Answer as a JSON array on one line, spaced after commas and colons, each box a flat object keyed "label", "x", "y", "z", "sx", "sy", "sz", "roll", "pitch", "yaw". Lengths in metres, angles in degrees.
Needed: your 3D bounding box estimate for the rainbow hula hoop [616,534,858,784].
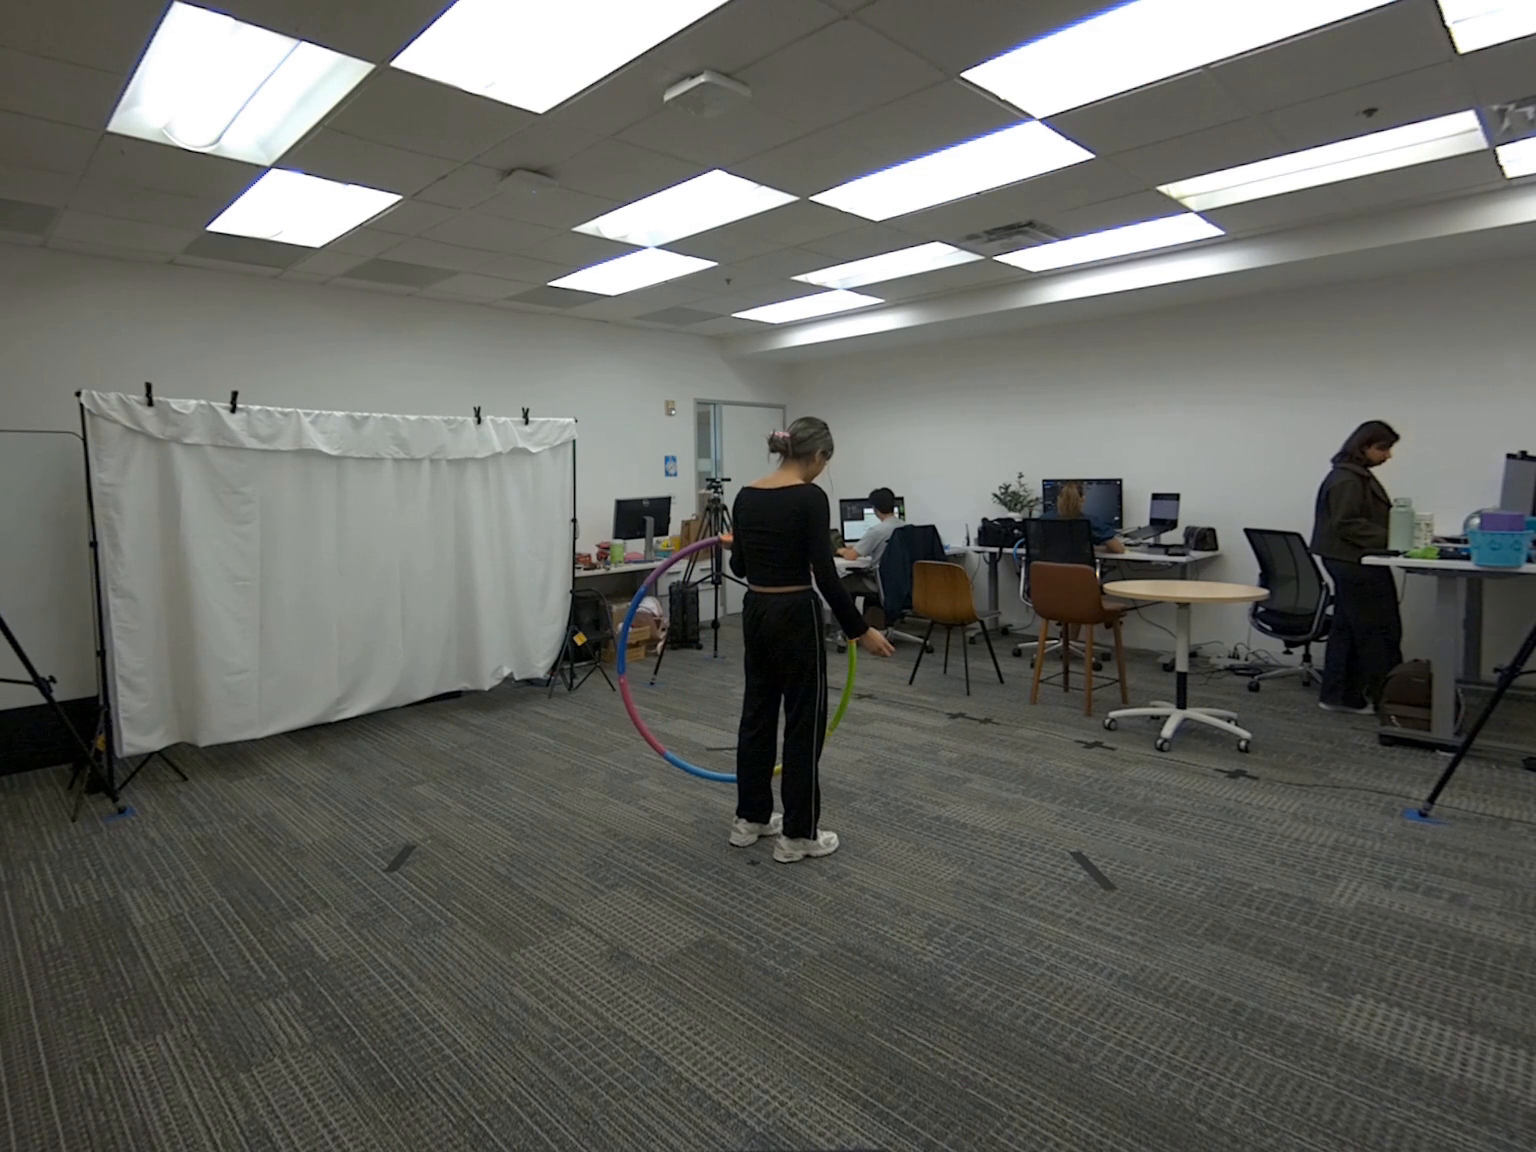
[{"label": "rainbow hula hoop", "x": -0.123, "y": 0.326, "z": 3.473, "sx": 0.975, "sy": 0.981, "sz": 0.035, "roll": -1, "pitch": -3, "yaw": -3}]
